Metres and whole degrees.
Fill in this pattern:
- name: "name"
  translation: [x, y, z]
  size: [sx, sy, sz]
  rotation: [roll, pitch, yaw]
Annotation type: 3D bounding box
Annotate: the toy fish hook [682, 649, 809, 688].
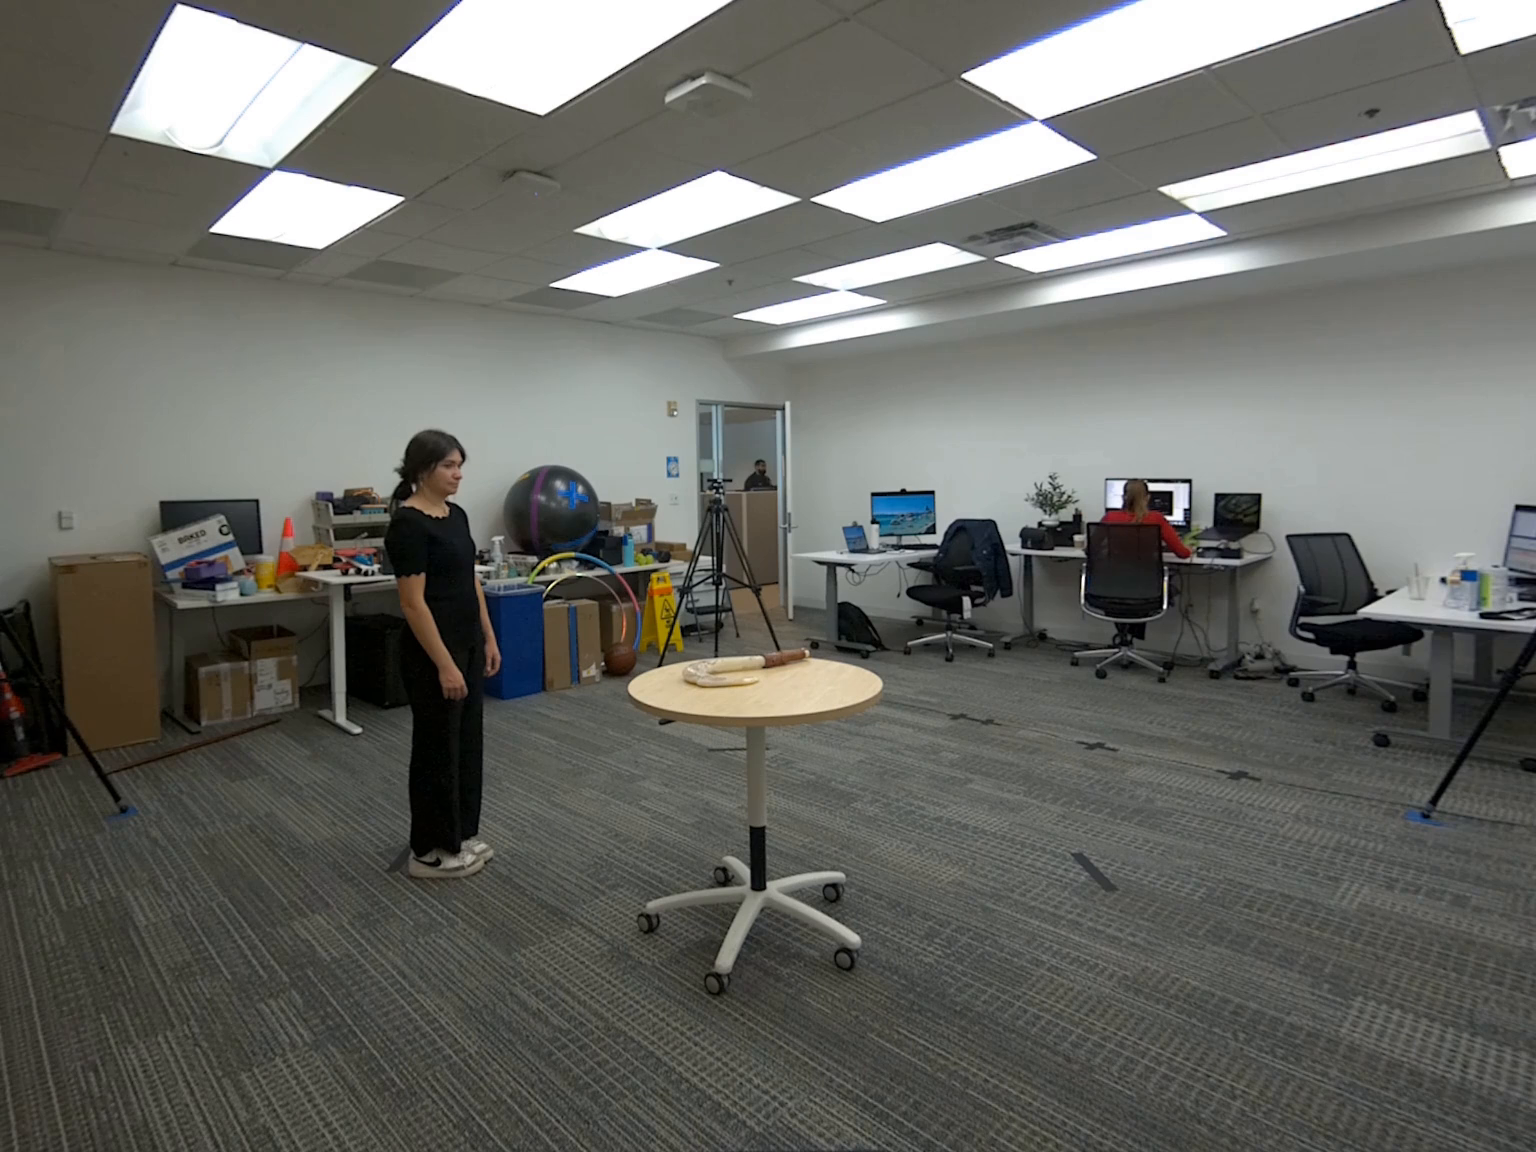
- name: "toy fish hook"
  translation: [-0.043, 0.300, 2.715]
  size: [0.494, 0.048, 0.232]
  rotation: [-6, 16, -35]
